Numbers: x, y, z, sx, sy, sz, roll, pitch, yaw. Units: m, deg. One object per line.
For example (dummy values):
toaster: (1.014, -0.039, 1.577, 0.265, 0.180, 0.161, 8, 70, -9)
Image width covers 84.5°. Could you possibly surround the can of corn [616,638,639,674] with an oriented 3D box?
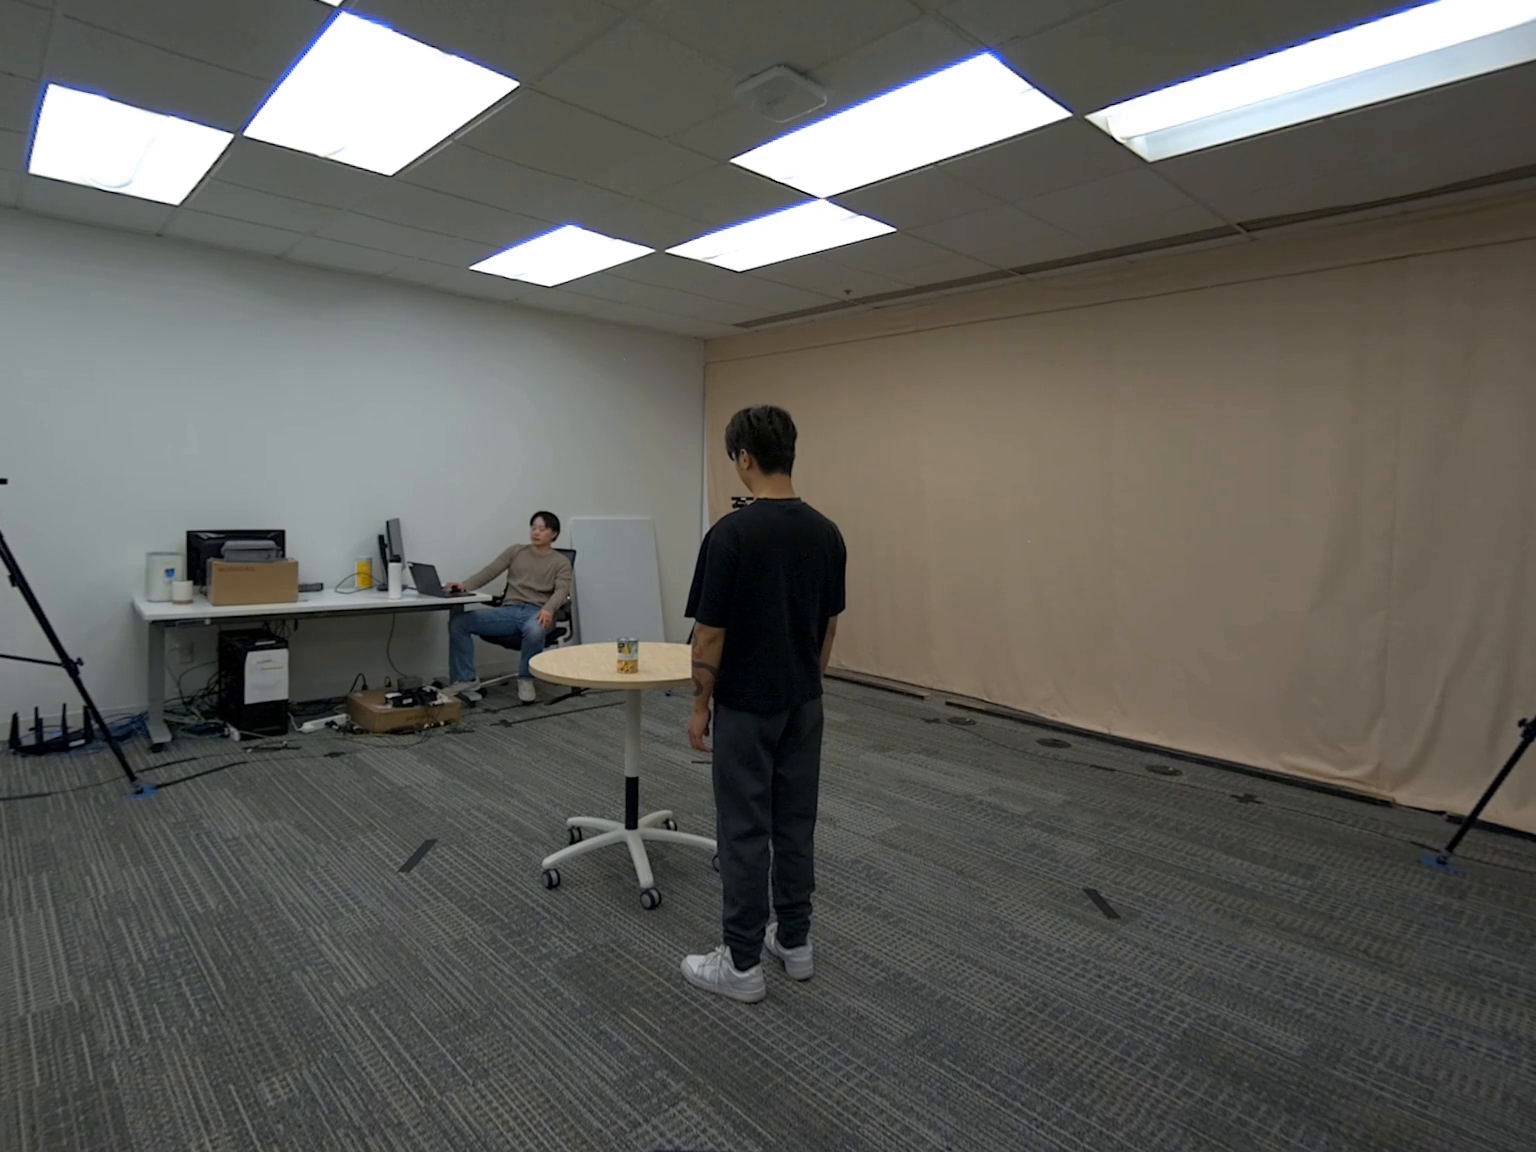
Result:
can of corn: (-0.493, 0.277, 2.916, 0.074, 0.110, 0.074, 1, 5, -1)
